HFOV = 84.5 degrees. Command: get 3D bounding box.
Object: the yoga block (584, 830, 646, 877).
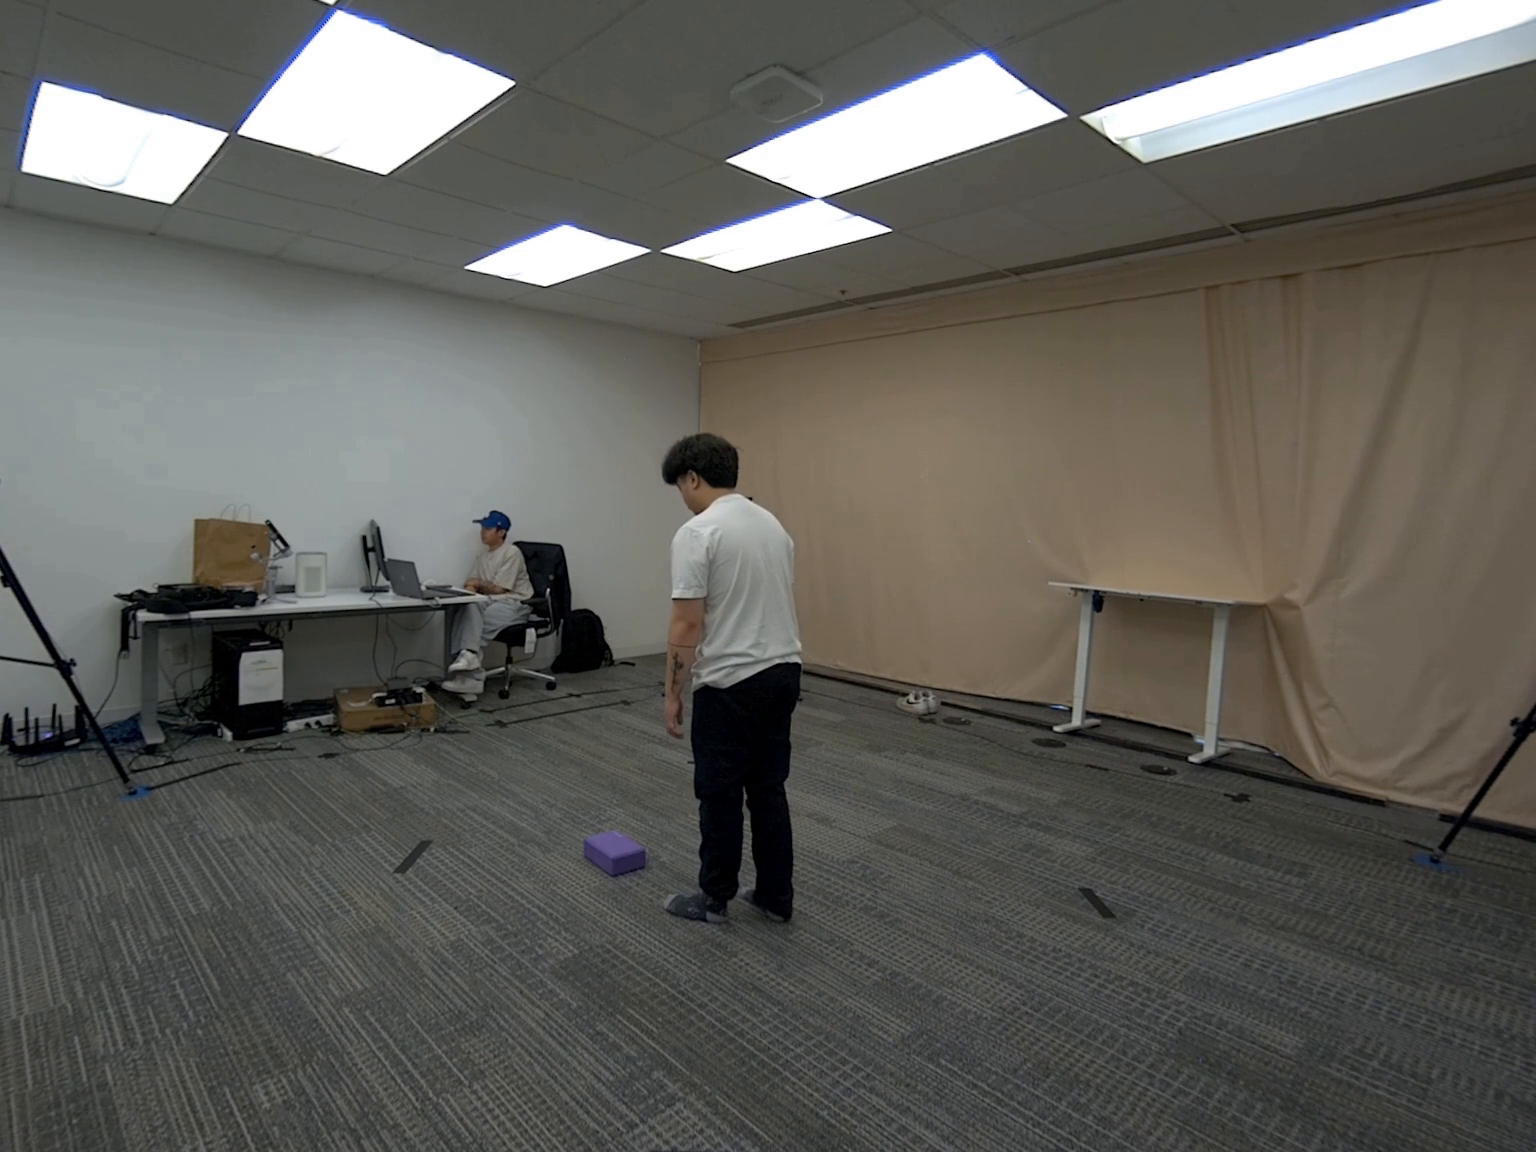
[{"bbox_3d":[-0.593,1.052,3.200,0.145,0.076,0.235,-3,7,-40],"label":"yoga block"}]
